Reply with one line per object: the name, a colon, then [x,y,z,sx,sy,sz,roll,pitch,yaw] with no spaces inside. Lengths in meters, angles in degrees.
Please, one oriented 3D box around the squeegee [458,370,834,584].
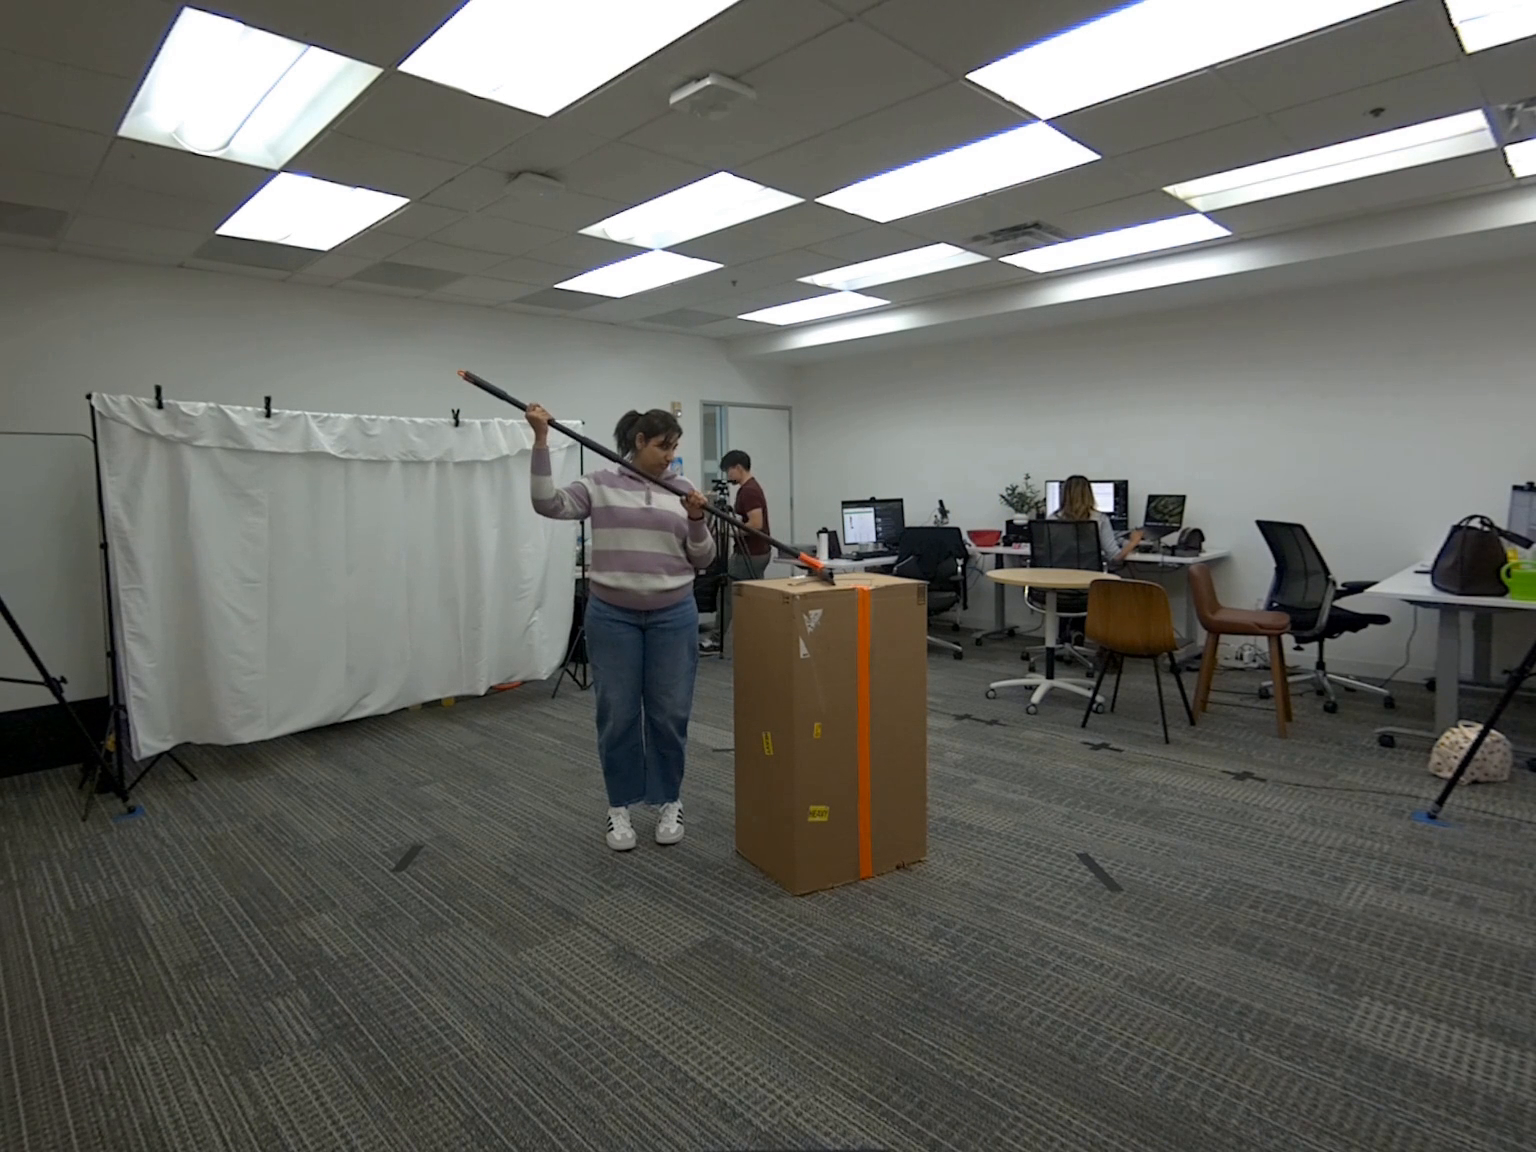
squeegee: [-0.437,-0.371,3.125,1.532,0.053,0.439,30,0,-3]
